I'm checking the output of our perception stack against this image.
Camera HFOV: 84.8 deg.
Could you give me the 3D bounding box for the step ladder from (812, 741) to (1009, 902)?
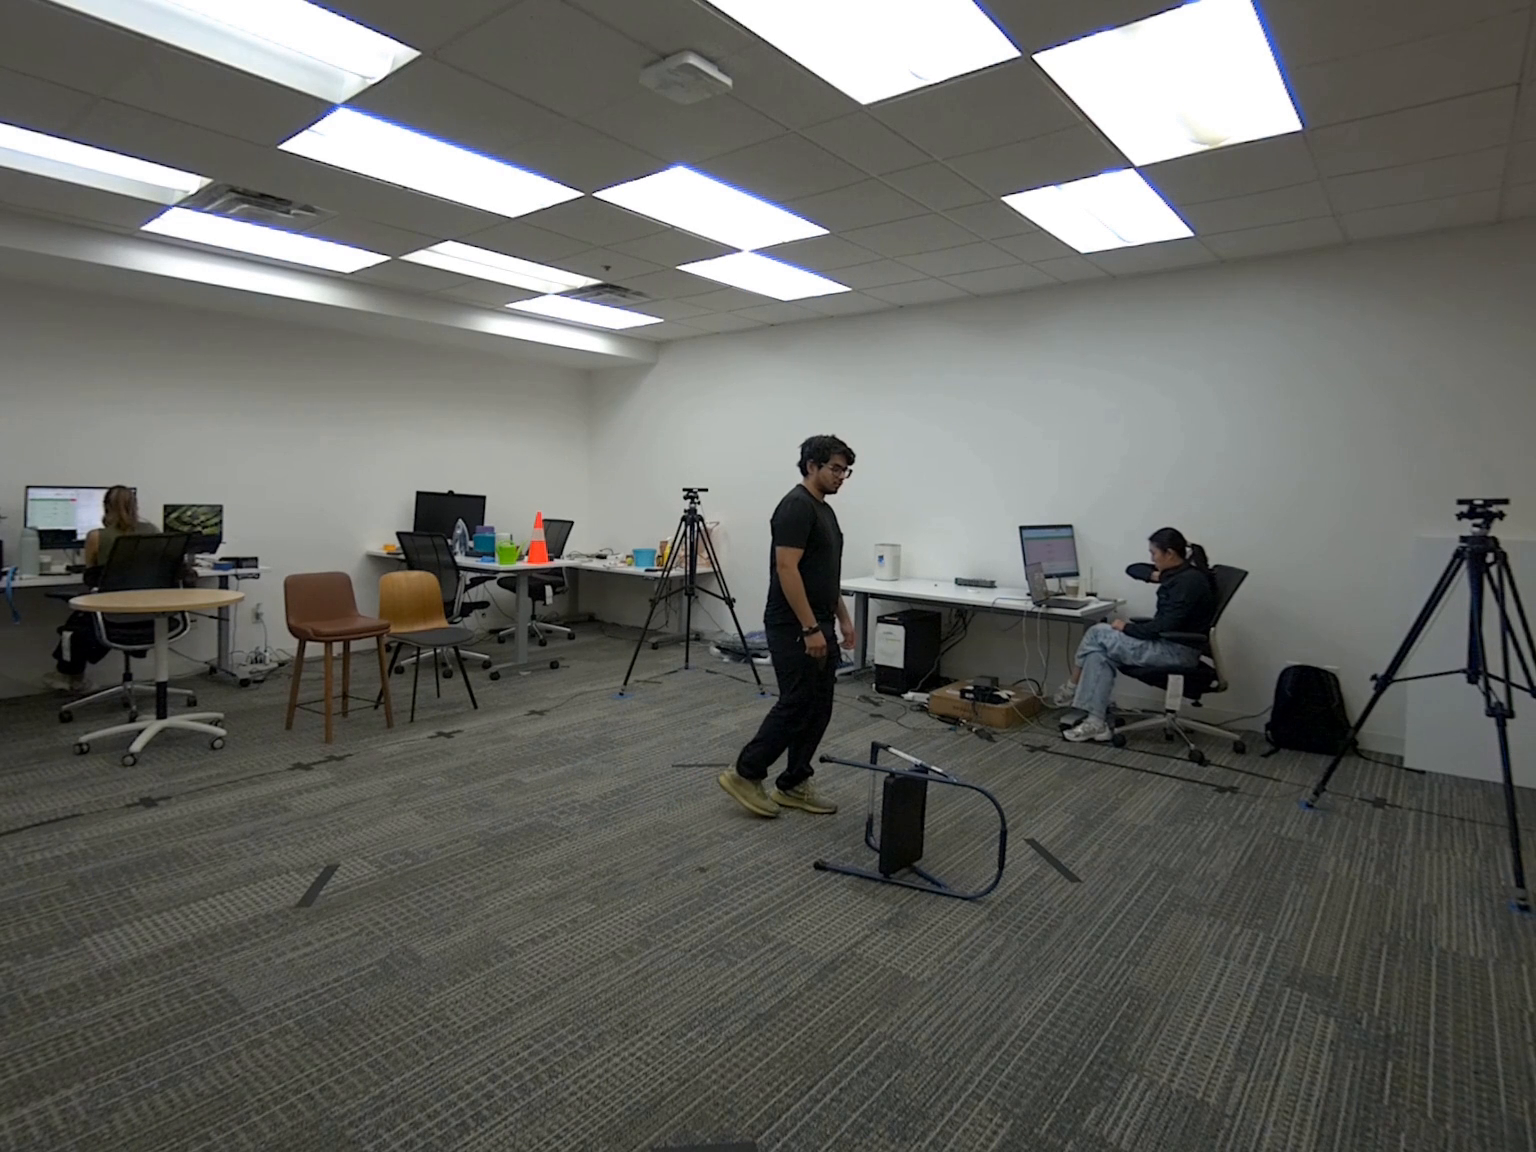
[{"bbox_3d":[0.515,0.886,3.031,0.627,0.429,0.339,8,7,42],"label":"step ladder"}]
